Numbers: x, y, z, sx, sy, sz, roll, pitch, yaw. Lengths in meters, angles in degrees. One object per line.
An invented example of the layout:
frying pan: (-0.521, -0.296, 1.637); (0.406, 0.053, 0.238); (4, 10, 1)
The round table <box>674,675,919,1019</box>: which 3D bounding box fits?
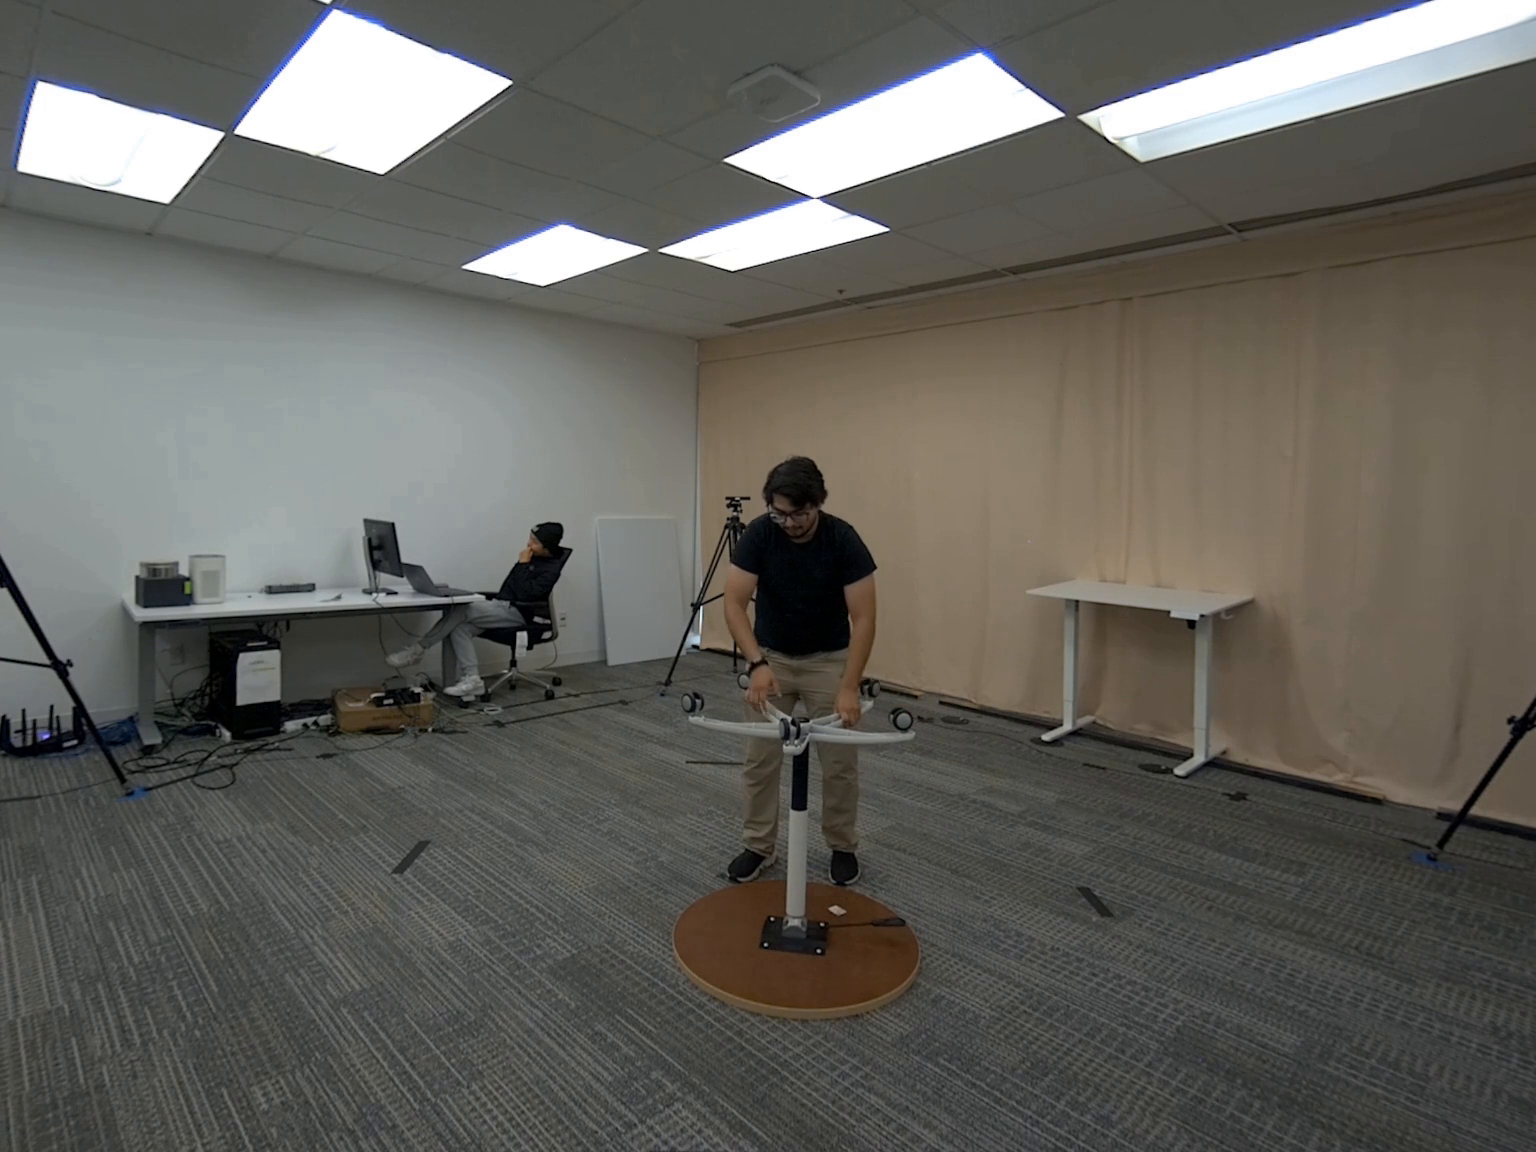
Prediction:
round table: (0.084, 0.762, 2.604); (0.784, 0.784, 0.788); (1, 4, -1)
